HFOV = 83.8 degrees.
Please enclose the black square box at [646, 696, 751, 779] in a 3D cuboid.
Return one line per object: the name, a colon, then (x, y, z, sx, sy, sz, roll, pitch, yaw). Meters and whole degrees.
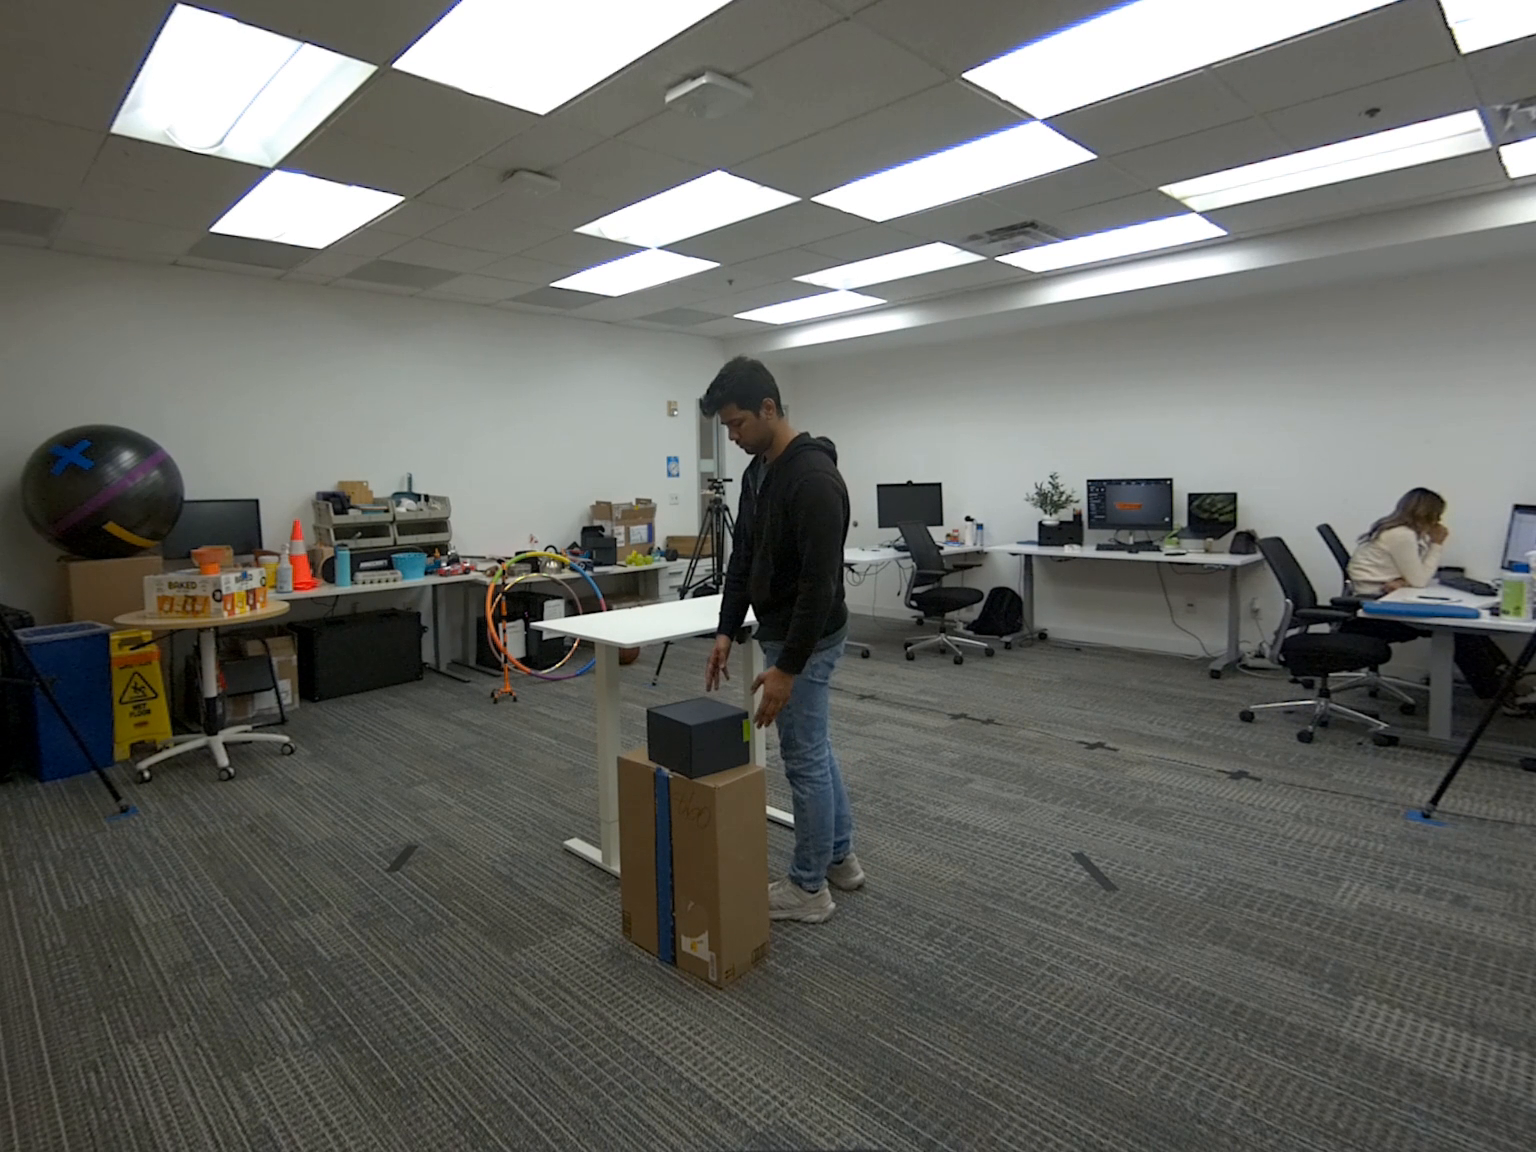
black square box: (-0.202, 0.472, 2.520, 0.211, 0.155, 0.235, -5, 6, -39)
